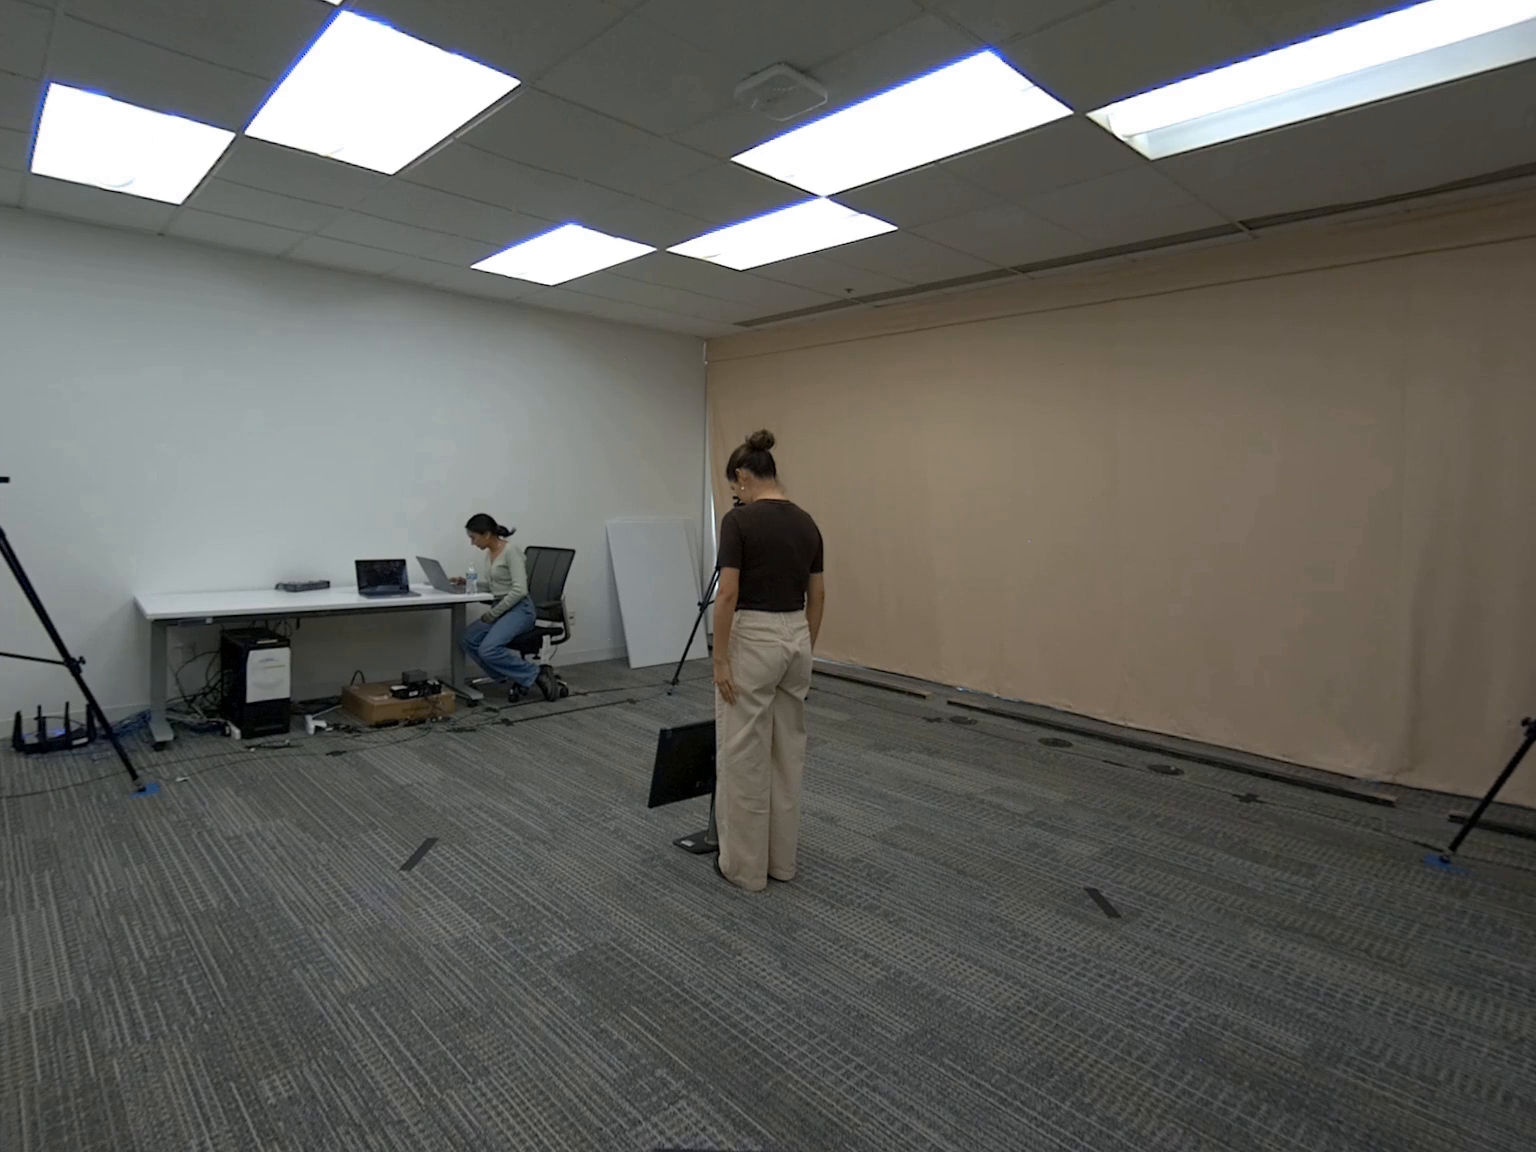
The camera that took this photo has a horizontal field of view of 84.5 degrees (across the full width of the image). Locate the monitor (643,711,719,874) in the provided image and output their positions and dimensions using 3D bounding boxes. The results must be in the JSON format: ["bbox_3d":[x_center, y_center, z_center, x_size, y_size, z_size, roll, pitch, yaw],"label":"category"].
[{"bbox_3d":[-0.216,0.826,3.379,0.527,0.521,0.192,-2,6,-41],"label":"monitor"}]
